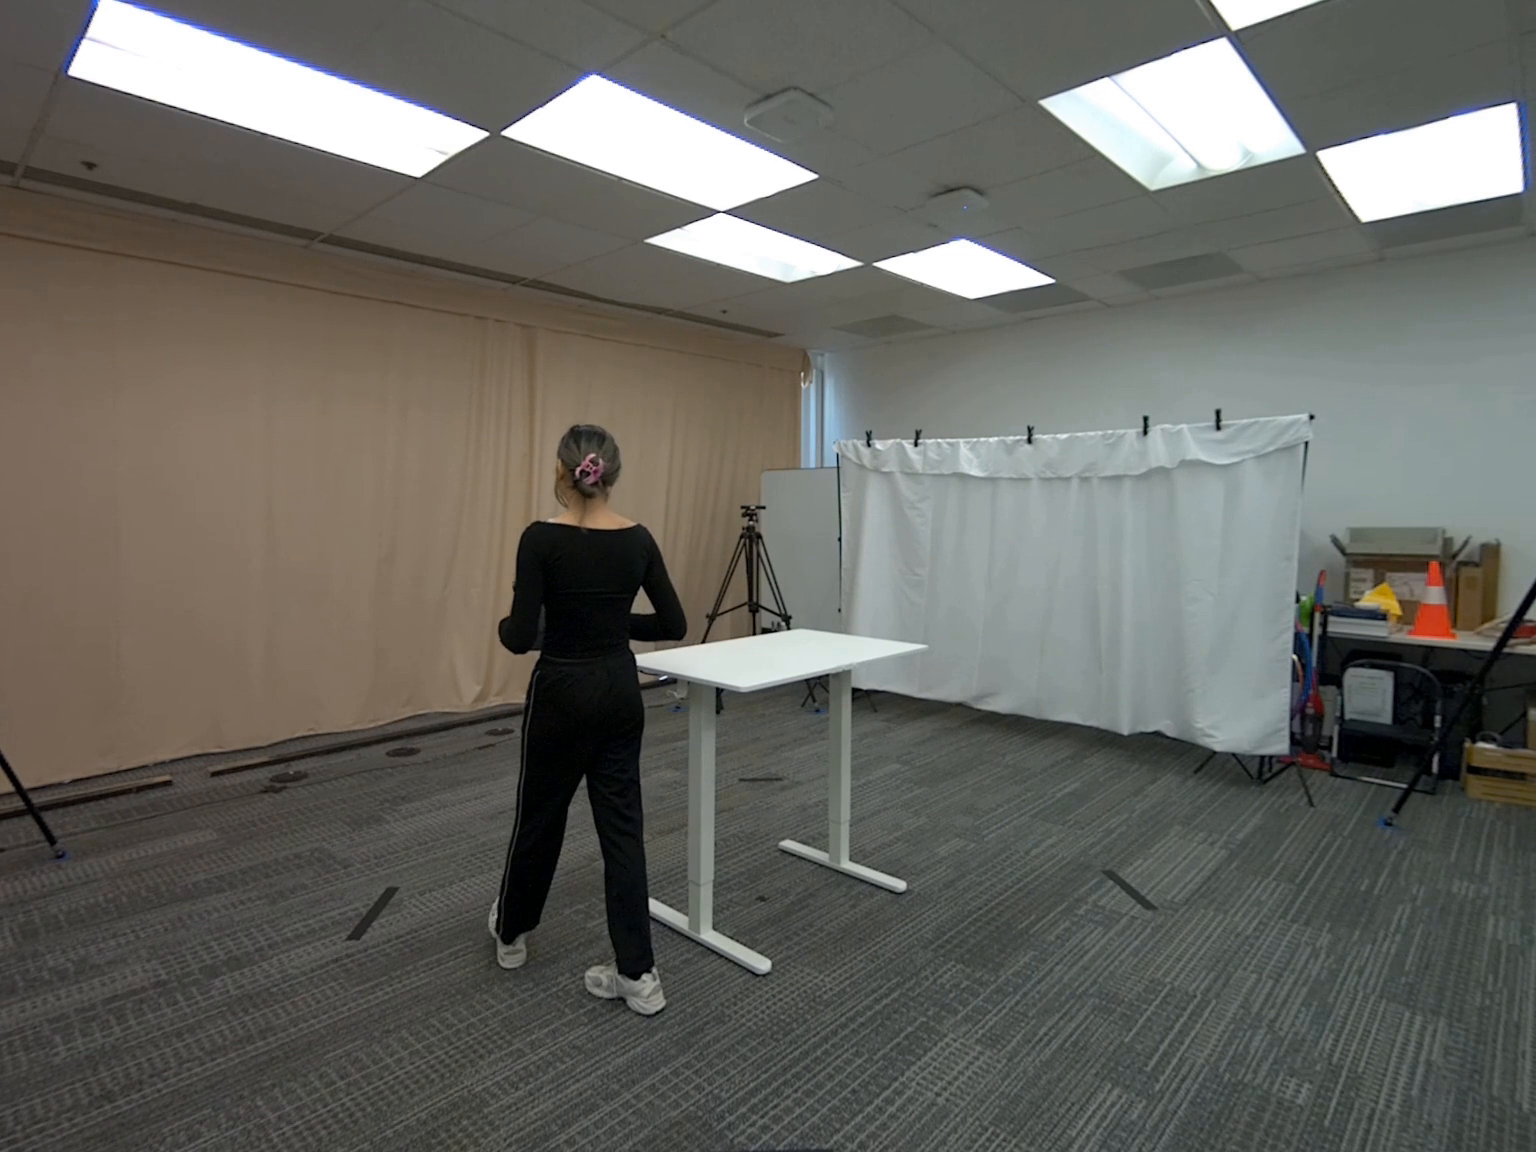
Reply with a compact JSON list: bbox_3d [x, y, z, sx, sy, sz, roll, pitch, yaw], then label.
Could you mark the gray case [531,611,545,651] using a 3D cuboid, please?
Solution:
[{"bbox_3d":[-0.660,0.089,2.591,0.250,0.261,0.106,0,-5,-26],"label":"gray case"}]
